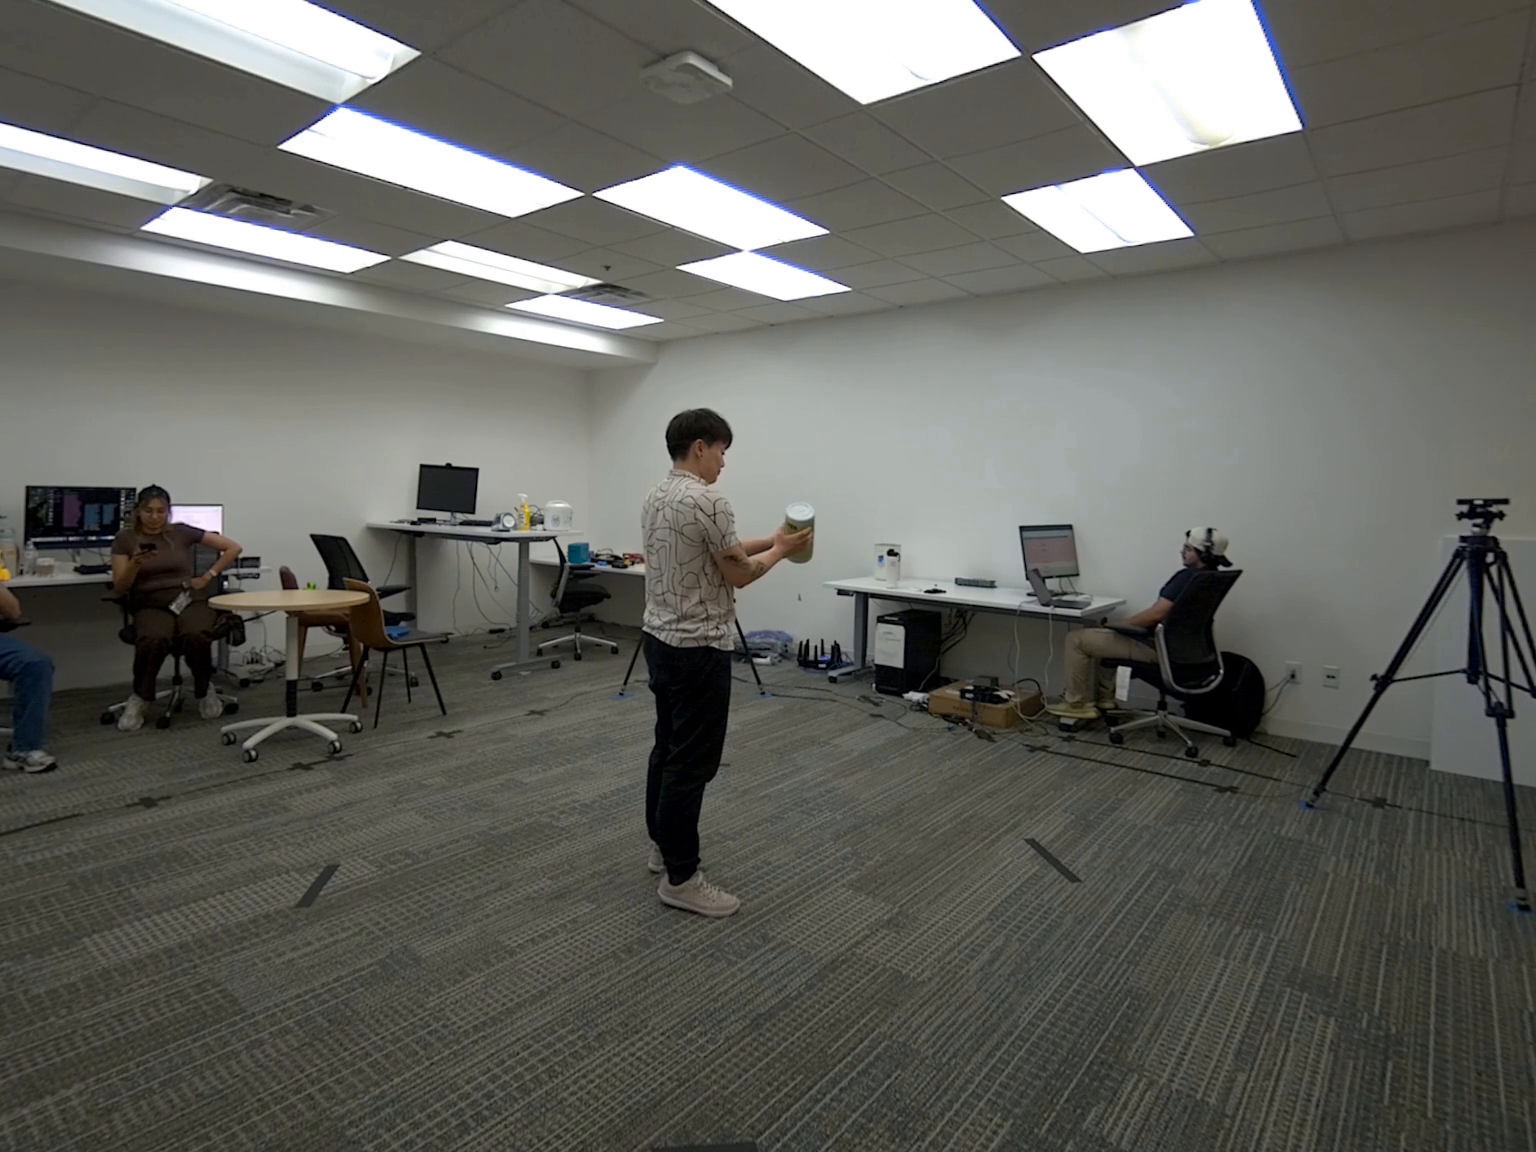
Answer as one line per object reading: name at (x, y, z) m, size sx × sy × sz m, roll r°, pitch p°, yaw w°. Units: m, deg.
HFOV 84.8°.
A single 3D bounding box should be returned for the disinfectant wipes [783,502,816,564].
disinfectant wipes at (0.102, -0.182, 3.227) m, size 0.118 × 0.121 × 0.212 m, roll 1°, pitch -32°, yaw -2°
